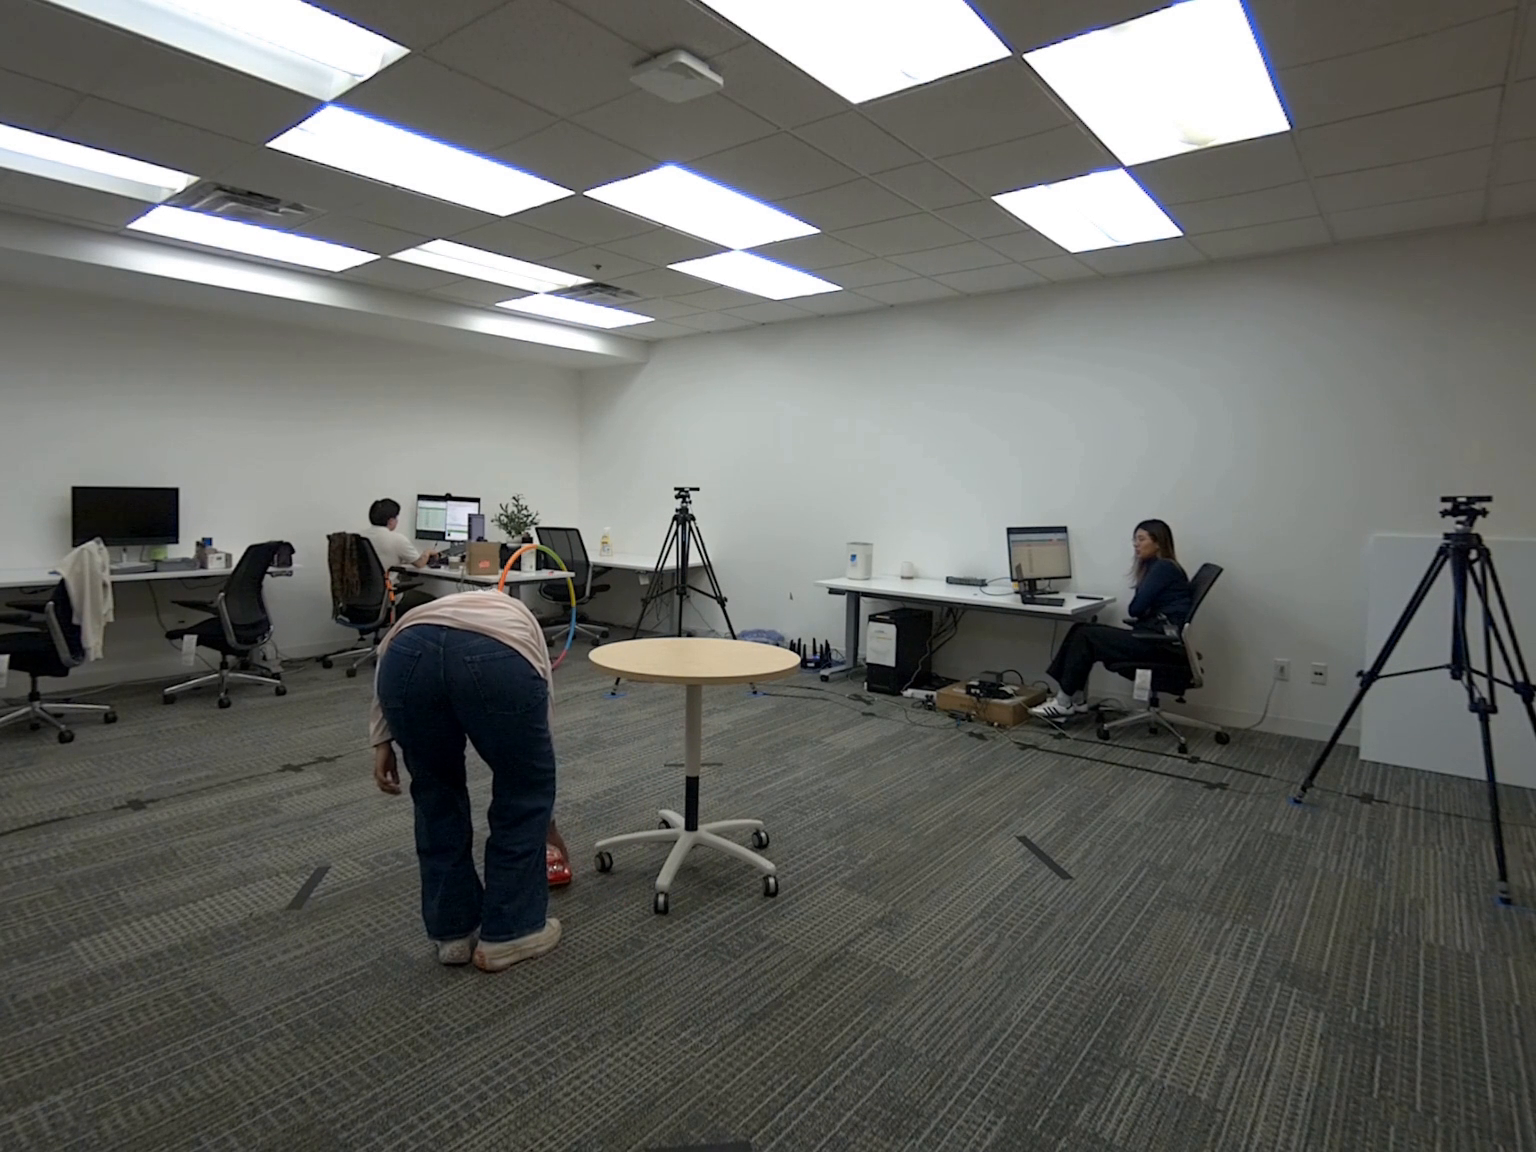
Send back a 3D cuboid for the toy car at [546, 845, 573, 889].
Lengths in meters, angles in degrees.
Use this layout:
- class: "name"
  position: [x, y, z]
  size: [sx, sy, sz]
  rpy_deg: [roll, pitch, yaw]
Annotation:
- class: "toy car"
  position: [-0.782, 1.030, 3.006]
  size: [0.127, 0.083, 0.260]
  rpy_deg: [0, -3, -27]
